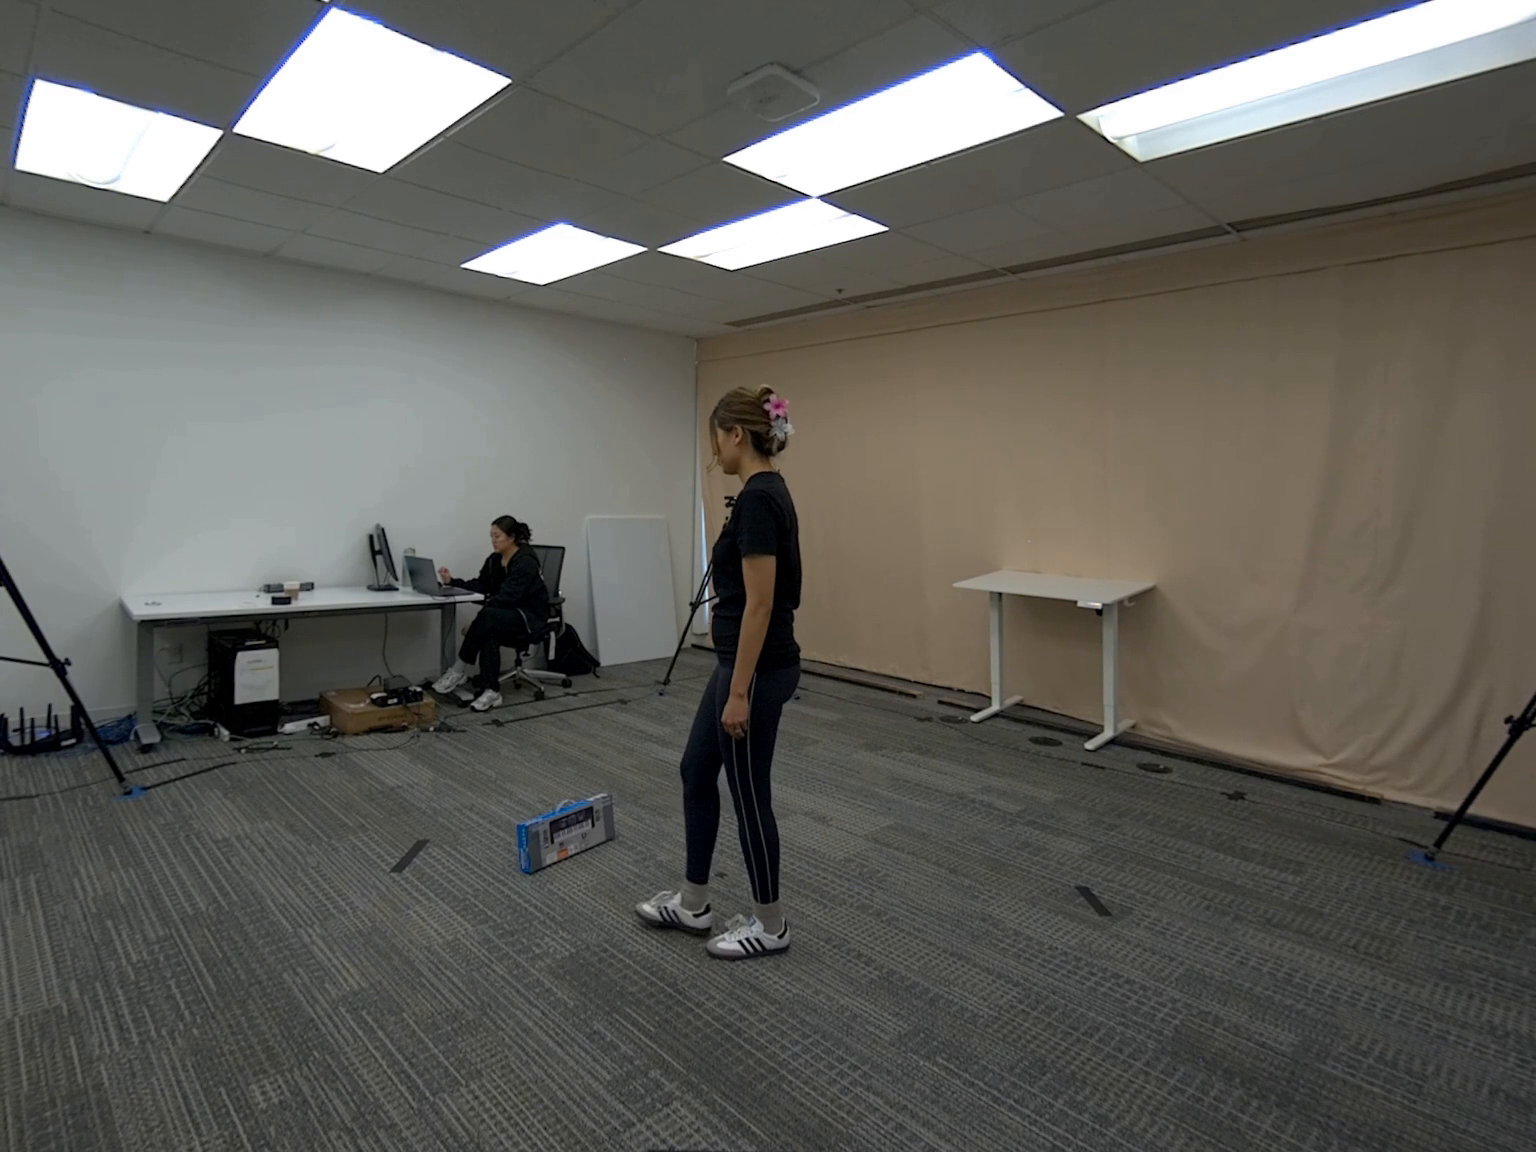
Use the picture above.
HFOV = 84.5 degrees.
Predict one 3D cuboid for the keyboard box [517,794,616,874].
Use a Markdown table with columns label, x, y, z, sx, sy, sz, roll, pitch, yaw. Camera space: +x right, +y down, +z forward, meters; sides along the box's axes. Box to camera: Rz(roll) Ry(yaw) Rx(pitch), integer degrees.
| label | x | y | z | sx | sy | sz | roll | pitch | yaw |
| --- | --- | --- | --- | --- | --- | --- | --- | --- | --- |
| keyboard box | -0.779 | 0.988 | 3.255 | 0.060 | 0.176 | 0.427 | -6 | -1 | 35 |
